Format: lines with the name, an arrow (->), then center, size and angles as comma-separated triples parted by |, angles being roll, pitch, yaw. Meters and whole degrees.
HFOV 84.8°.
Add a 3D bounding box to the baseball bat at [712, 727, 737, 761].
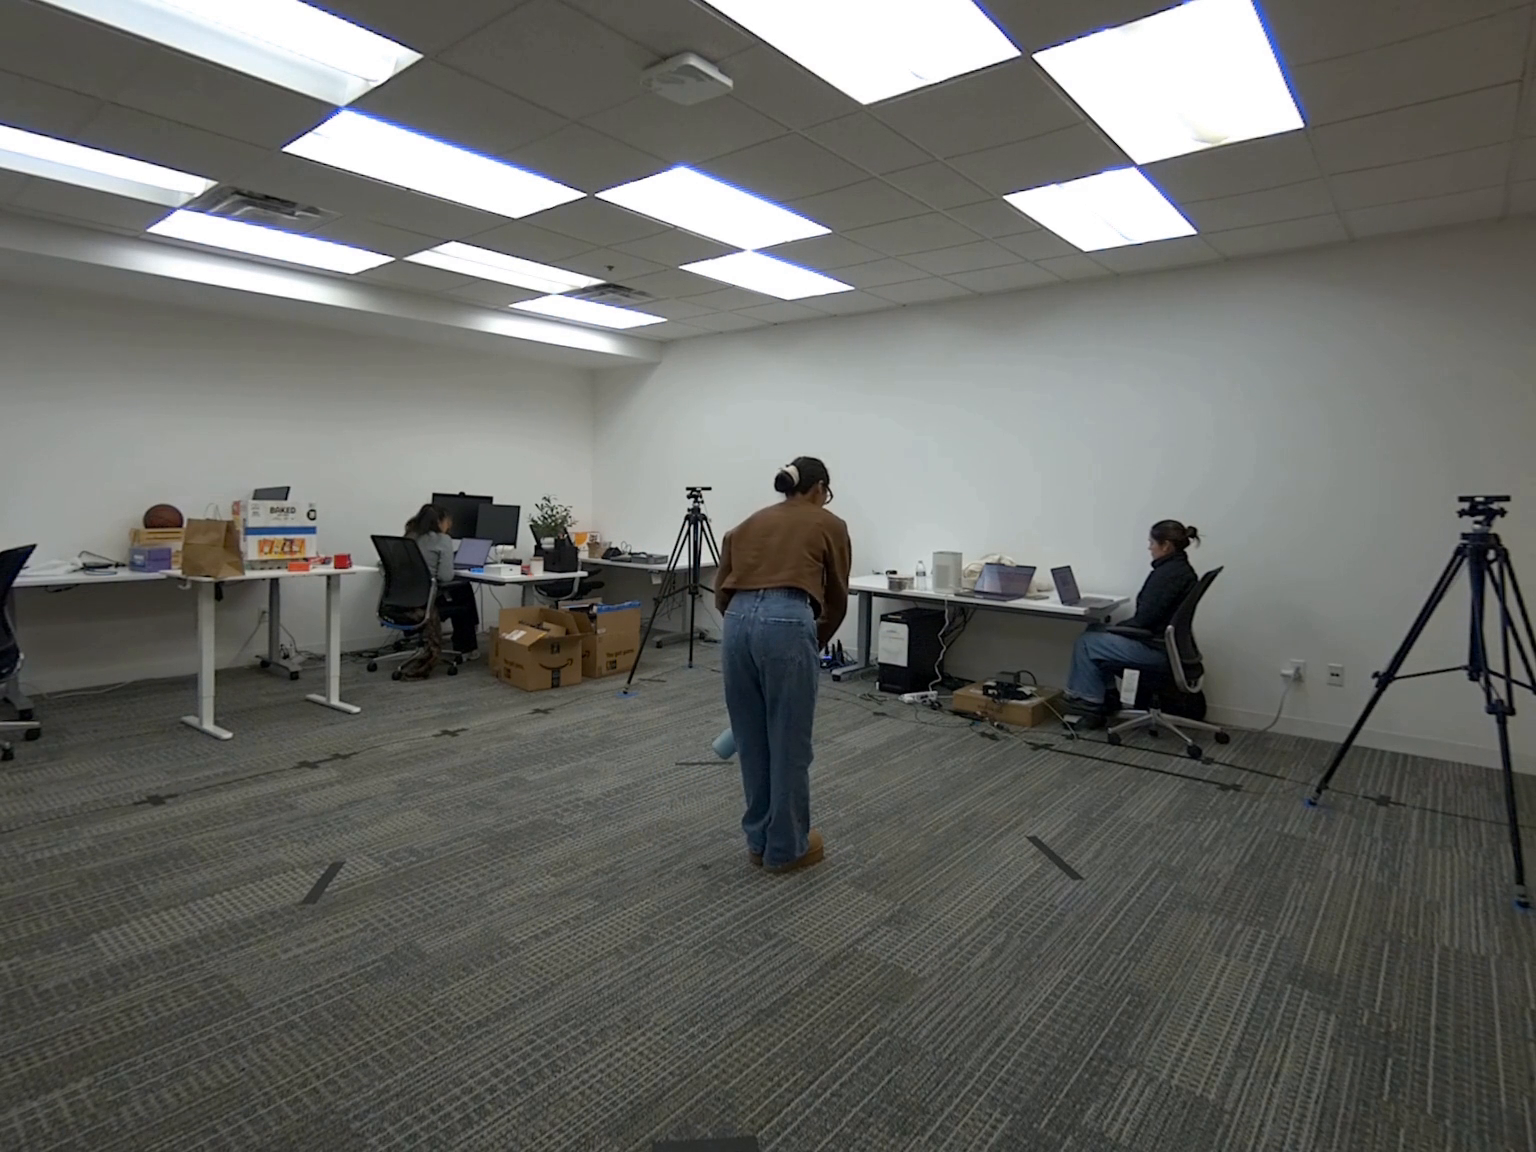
baseball bat -> -0.010, 0.491, 3.291 | 0.543, 0.088, 0.090 | -42, 8, -3
